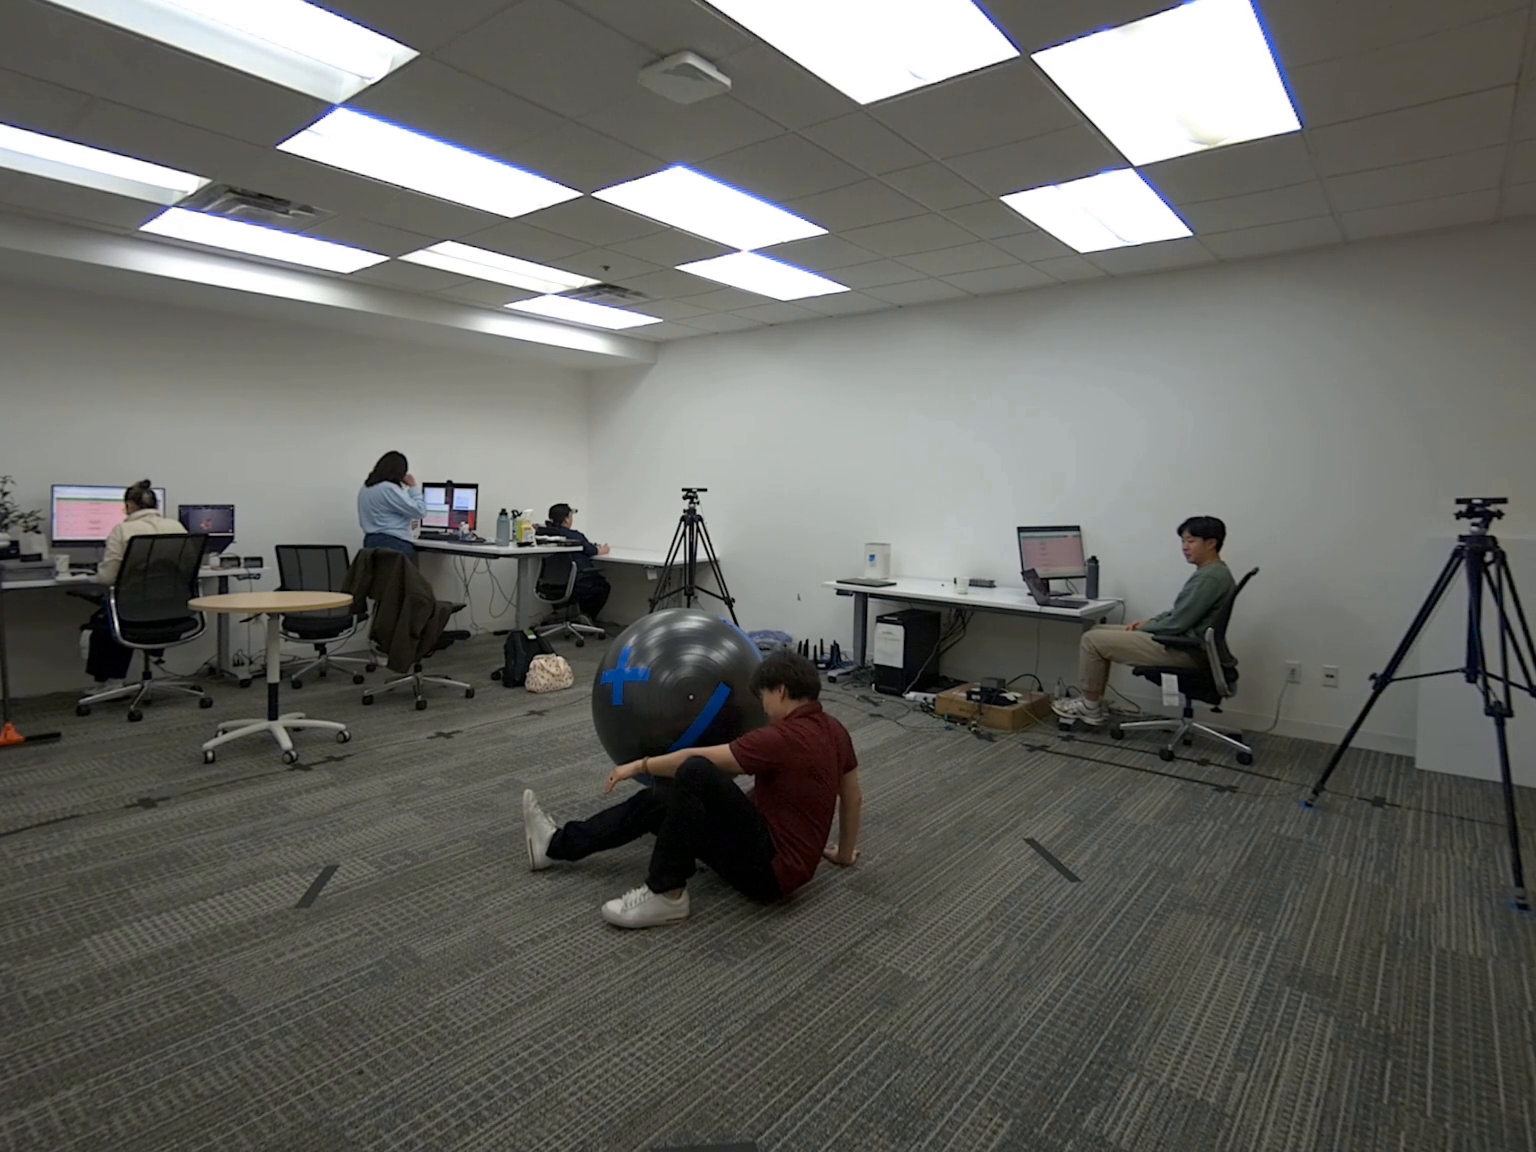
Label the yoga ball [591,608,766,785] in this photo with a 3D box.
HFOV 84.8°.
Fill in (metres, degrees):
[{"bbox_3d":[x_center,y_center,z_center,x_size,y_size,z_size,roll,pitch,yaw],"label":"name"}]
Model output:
[{"bbox_3d":[-0.364,0.516,3.548,0.757,0.755,0.762,1,4,-2],"label":"yoga ball"}]
